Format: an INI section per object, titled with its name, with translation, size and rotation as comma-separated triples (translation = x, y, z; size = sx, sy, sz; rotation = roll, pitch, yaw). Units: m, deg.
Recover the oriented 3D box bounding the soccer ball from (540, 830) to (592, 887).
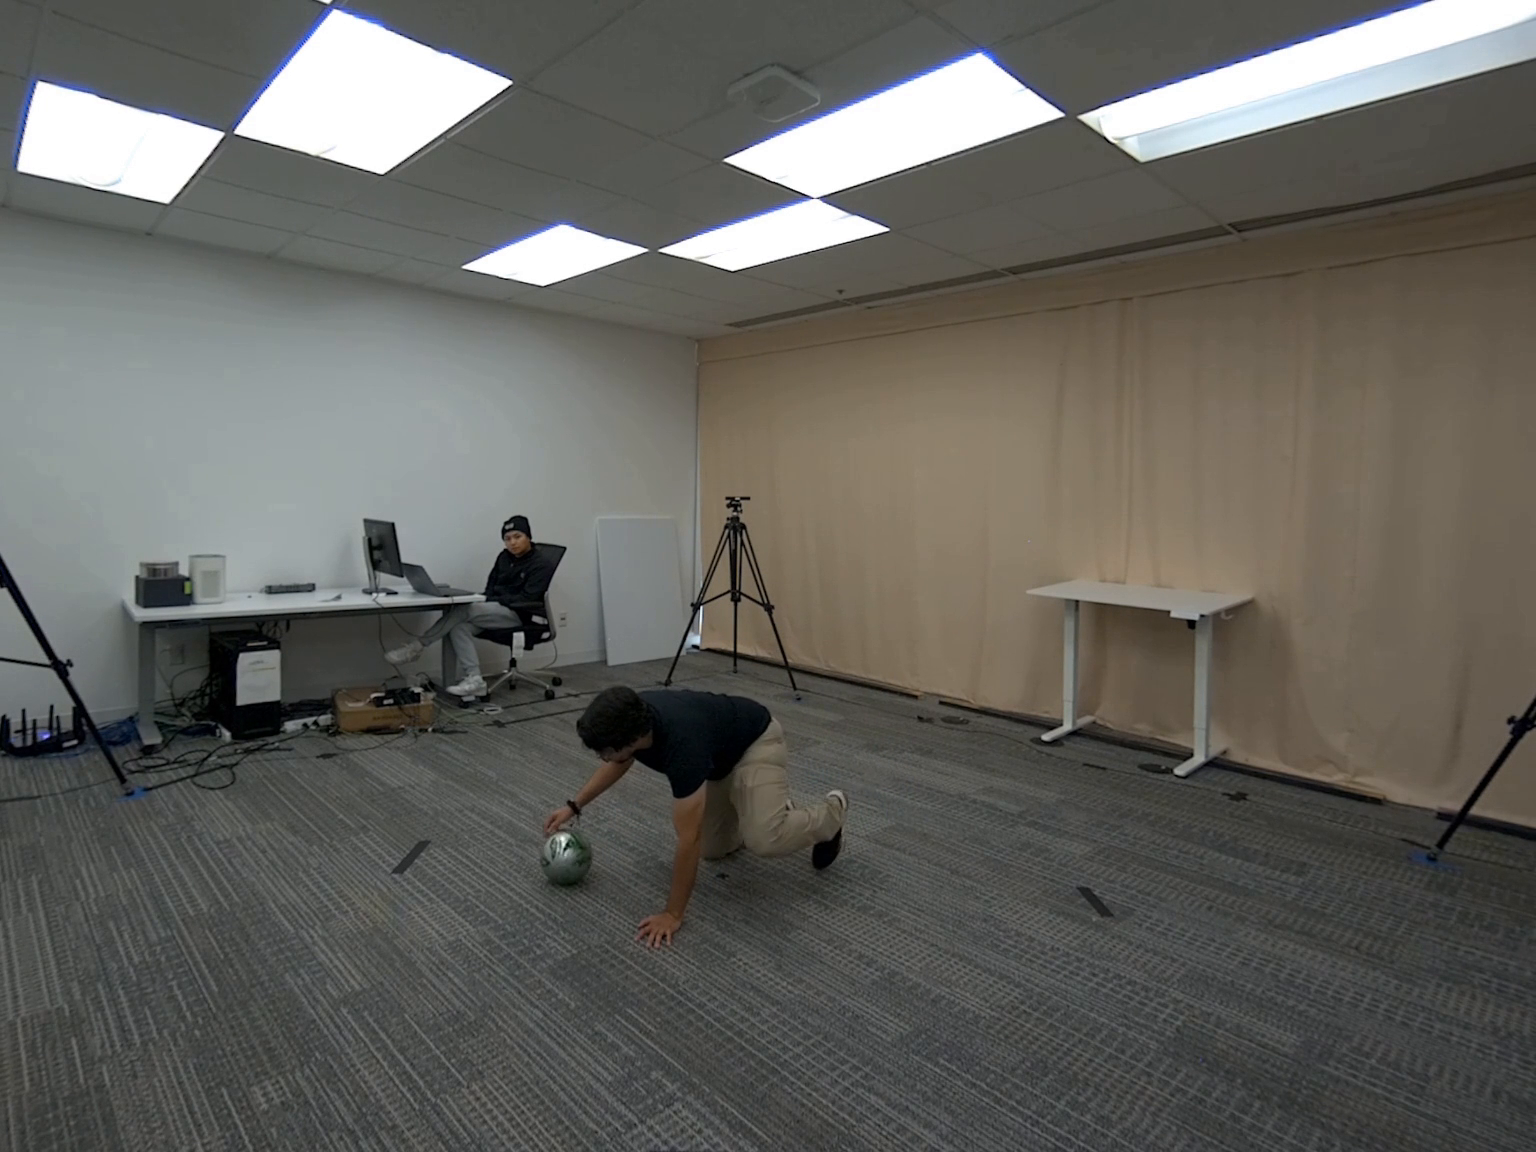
[soccer ball]
translation = -0.722, 0.999, 3.021
size = 0.187, 0.187, 0.188
rotation = 1, 4, -1
